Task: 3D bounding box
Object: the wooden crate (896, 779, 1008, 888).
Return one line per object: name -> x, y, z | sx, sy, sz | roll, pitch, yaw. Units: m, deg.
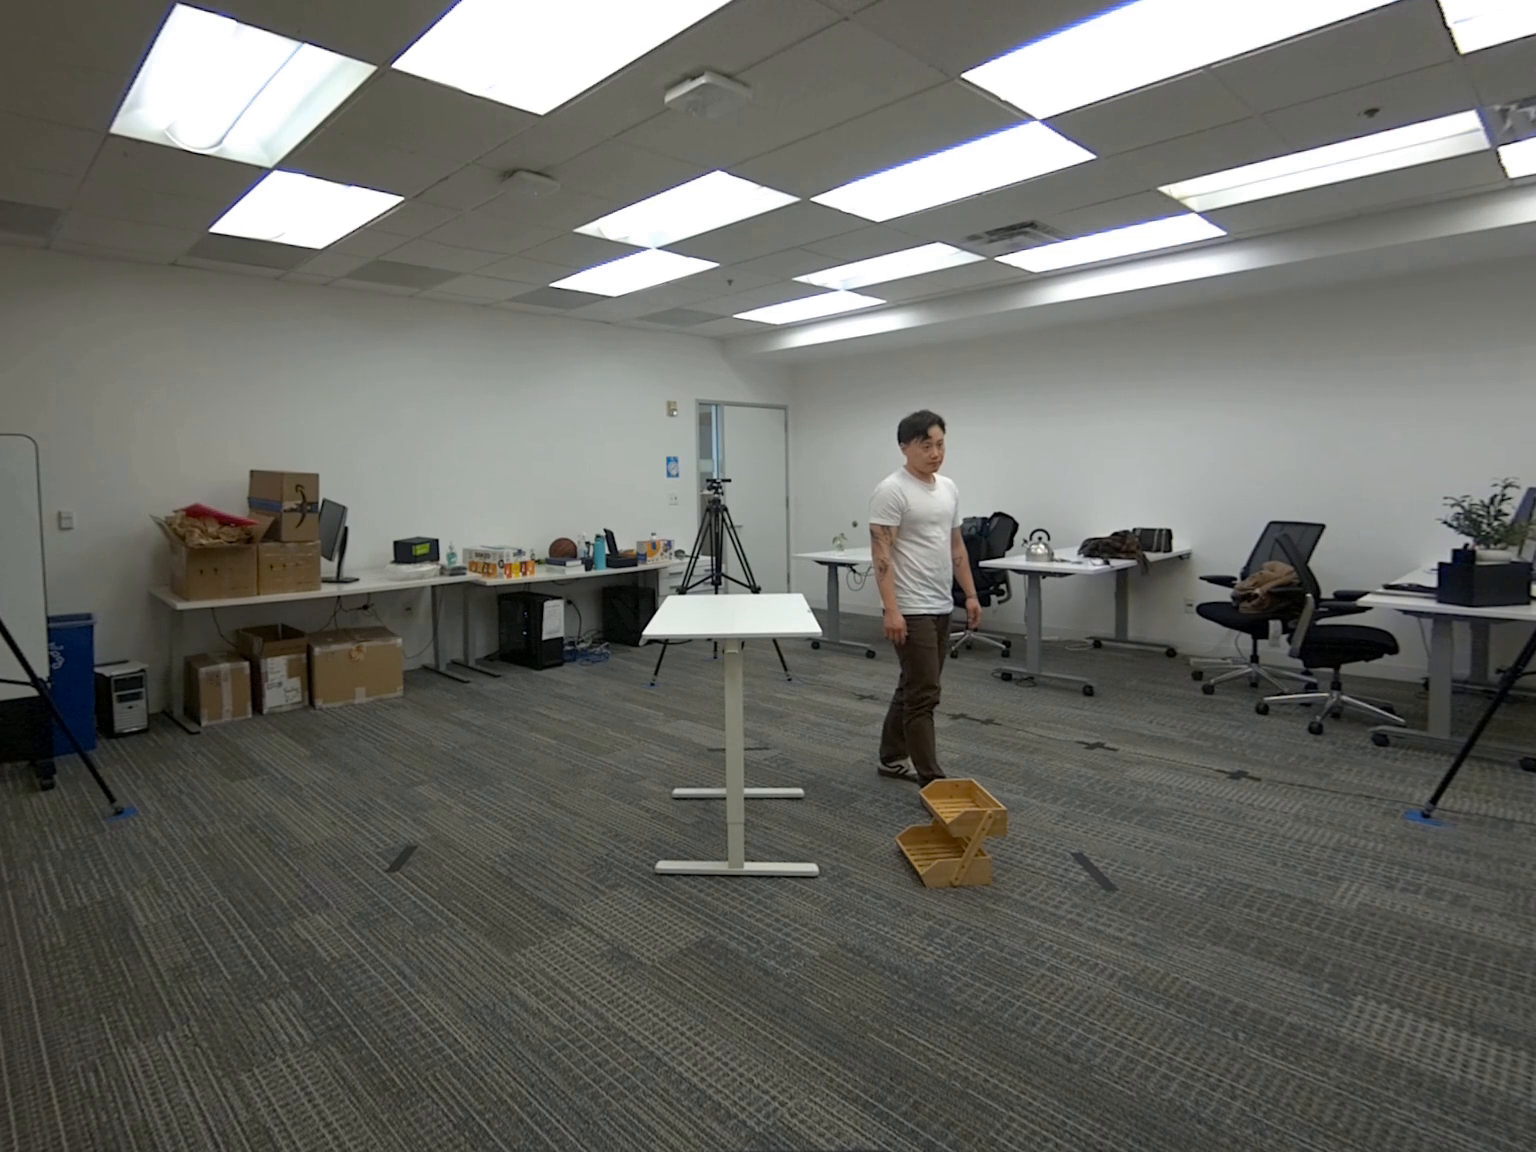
wooden crate -> 0.641, 0.900, 3.052 | 0.300, 0.272, 0.328 | -2, 5, -8
